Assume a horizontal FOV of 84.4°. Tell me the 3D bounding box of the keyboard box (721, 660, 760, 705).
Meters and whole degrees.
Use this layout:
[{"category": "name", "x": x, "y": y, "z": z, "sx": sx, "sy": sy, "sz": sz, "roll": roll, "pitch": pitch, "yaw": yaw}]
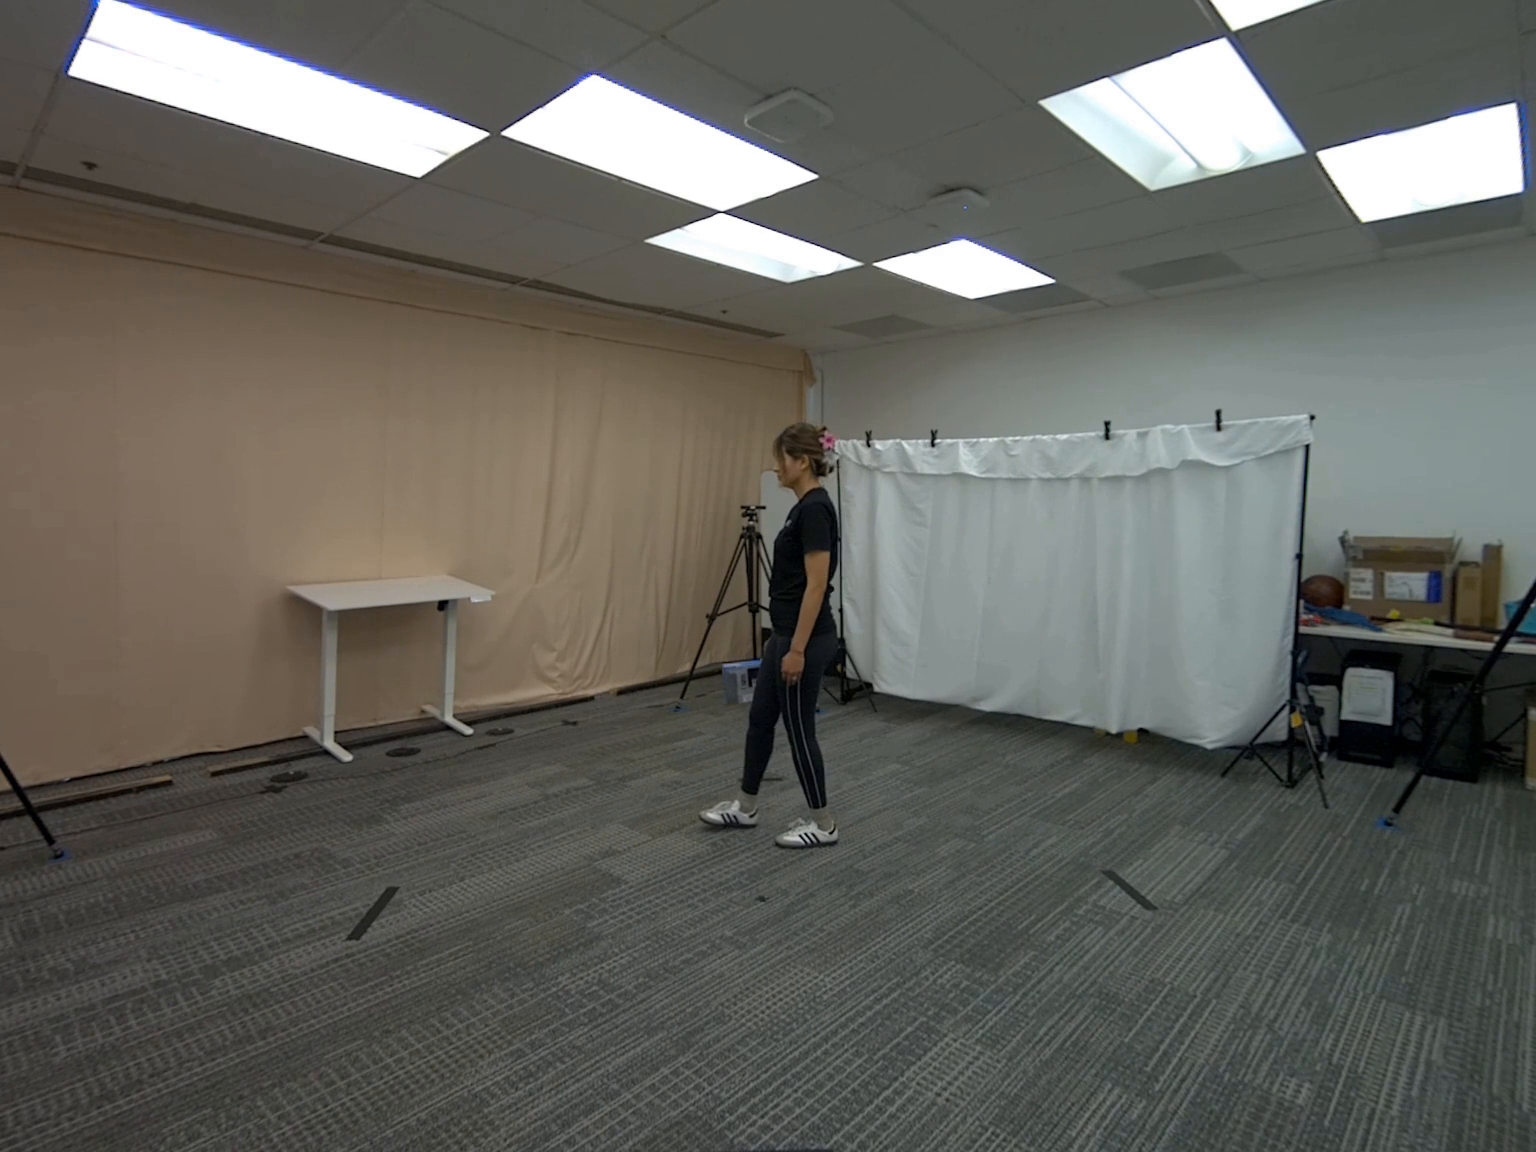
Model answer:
[{"category": "keyboard box", "x": 0.023, "y": 0.456, "z": 3.727, "sx": 0.434, "sy": 0.175, "sz": 0.060, "roll": -5, "pitch": 7, "yaw": -6}]
